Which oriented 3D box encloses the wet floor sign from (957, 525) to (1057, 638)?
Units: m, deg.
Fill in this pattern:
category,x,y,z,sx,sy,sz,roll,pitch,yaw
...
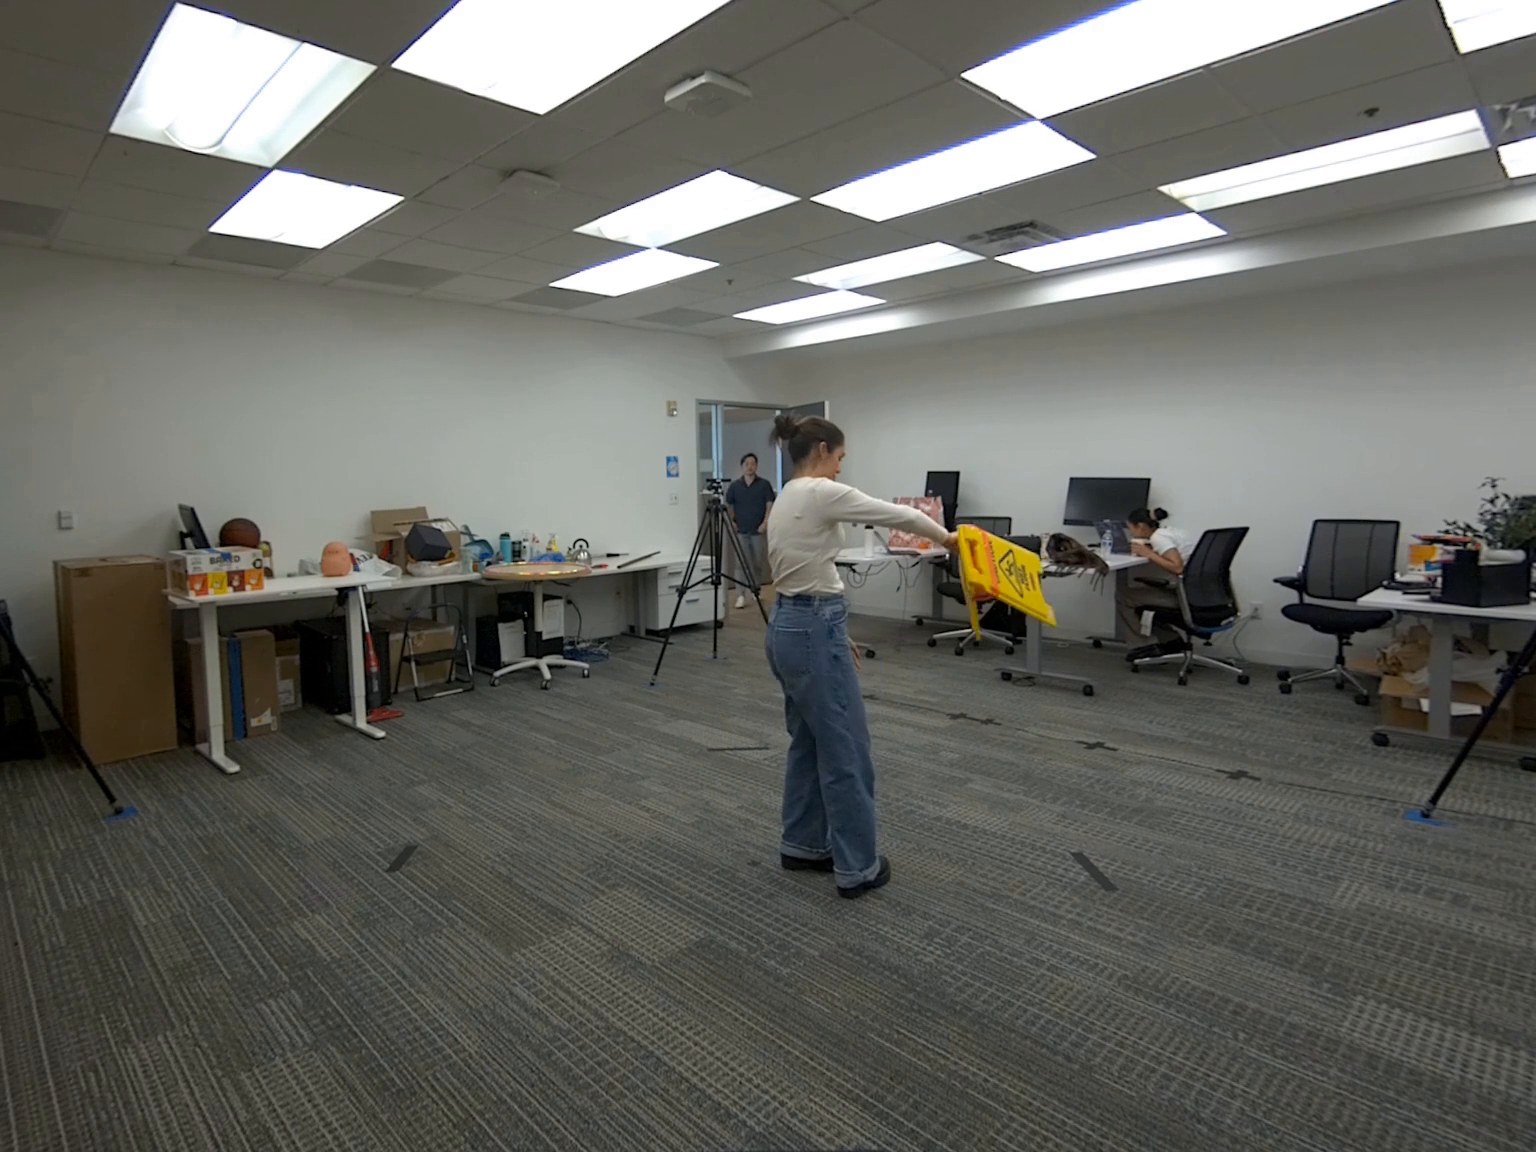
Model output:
category,x,y,z,sx,sy,sz,roll,pitch,yaw
wet floor sign,0.740,0.007,2.948,0.294,0.288,0.623,-14,-22,23
